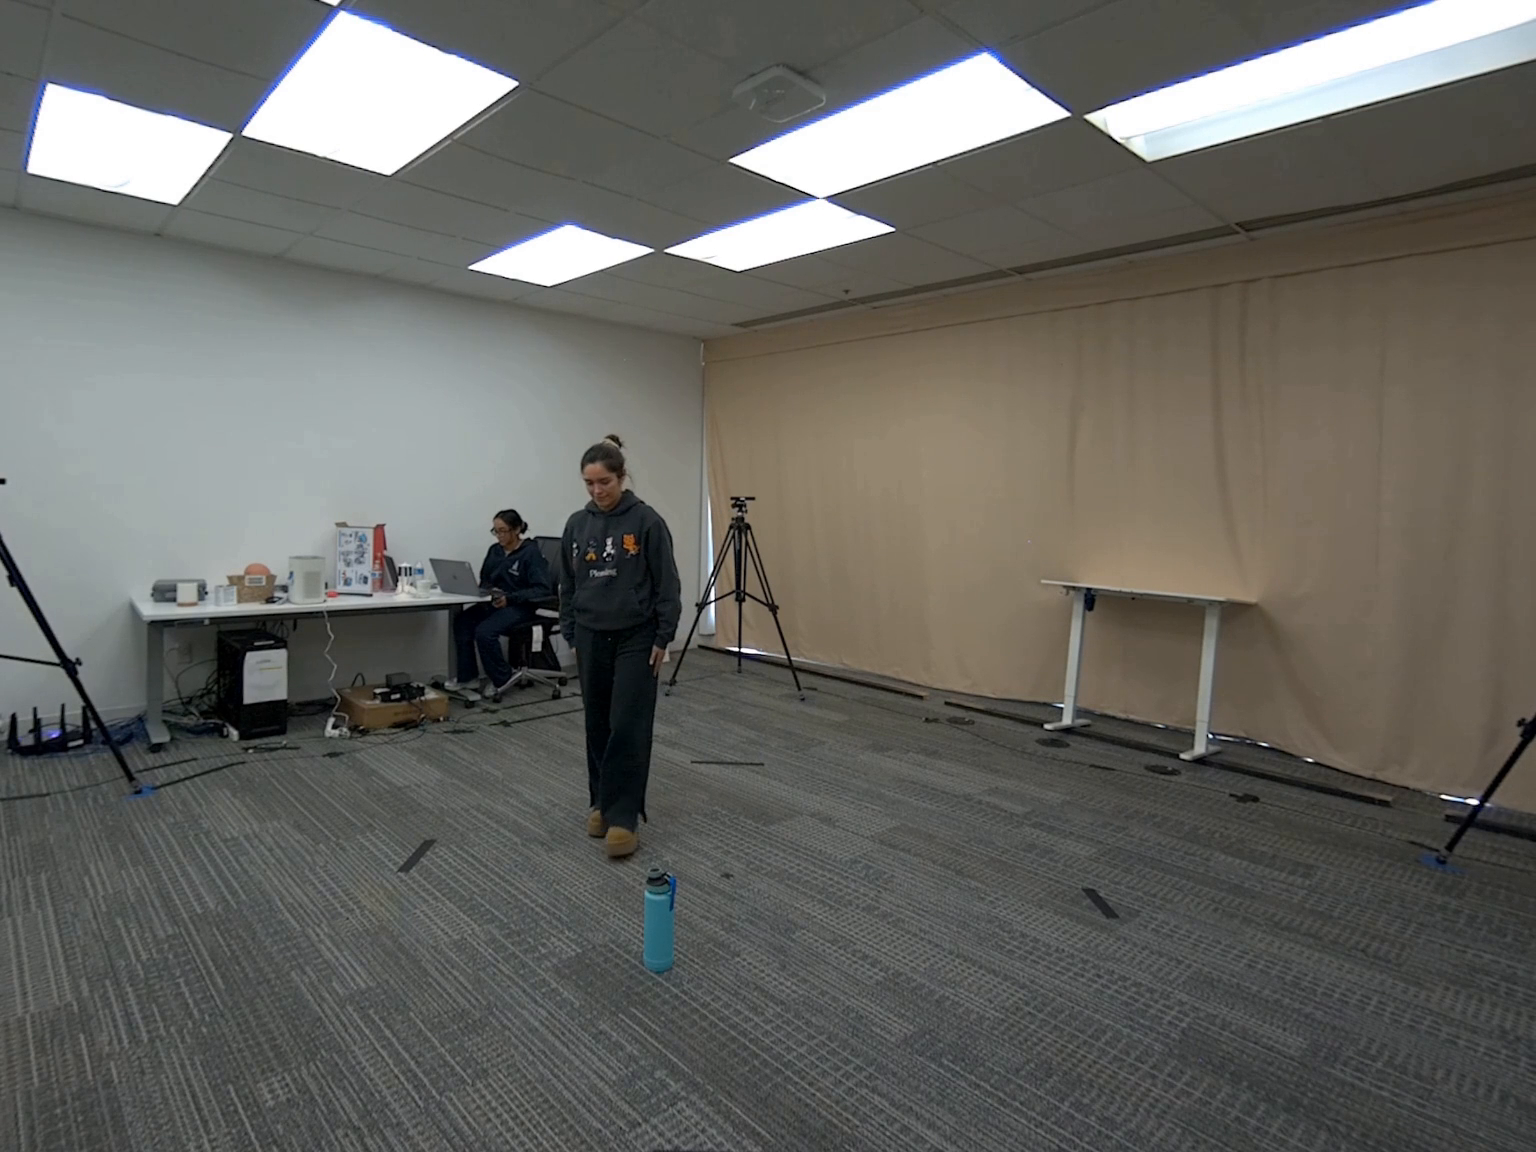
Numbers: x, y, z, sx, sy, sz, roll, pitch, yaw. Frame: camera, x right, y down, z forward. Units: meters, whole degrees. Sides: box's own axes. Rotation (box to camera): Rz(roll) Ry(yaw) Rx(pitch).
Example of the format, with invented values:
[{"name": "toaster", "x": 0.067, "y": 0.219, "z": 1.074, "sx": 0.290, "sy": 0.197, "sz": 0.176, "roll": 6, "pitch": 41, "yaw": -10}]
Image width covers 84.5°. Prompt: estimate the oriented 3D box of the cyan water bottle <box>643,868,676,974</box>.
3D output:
[{"name": "cyan water bottle", "x": -0.326, "y": 1.020, "z": 2.505, "sx": 0.092, "sy": 0.283, "sz": 0.092, "roll": 3, "pitch": 3, "yaw": -2}]
